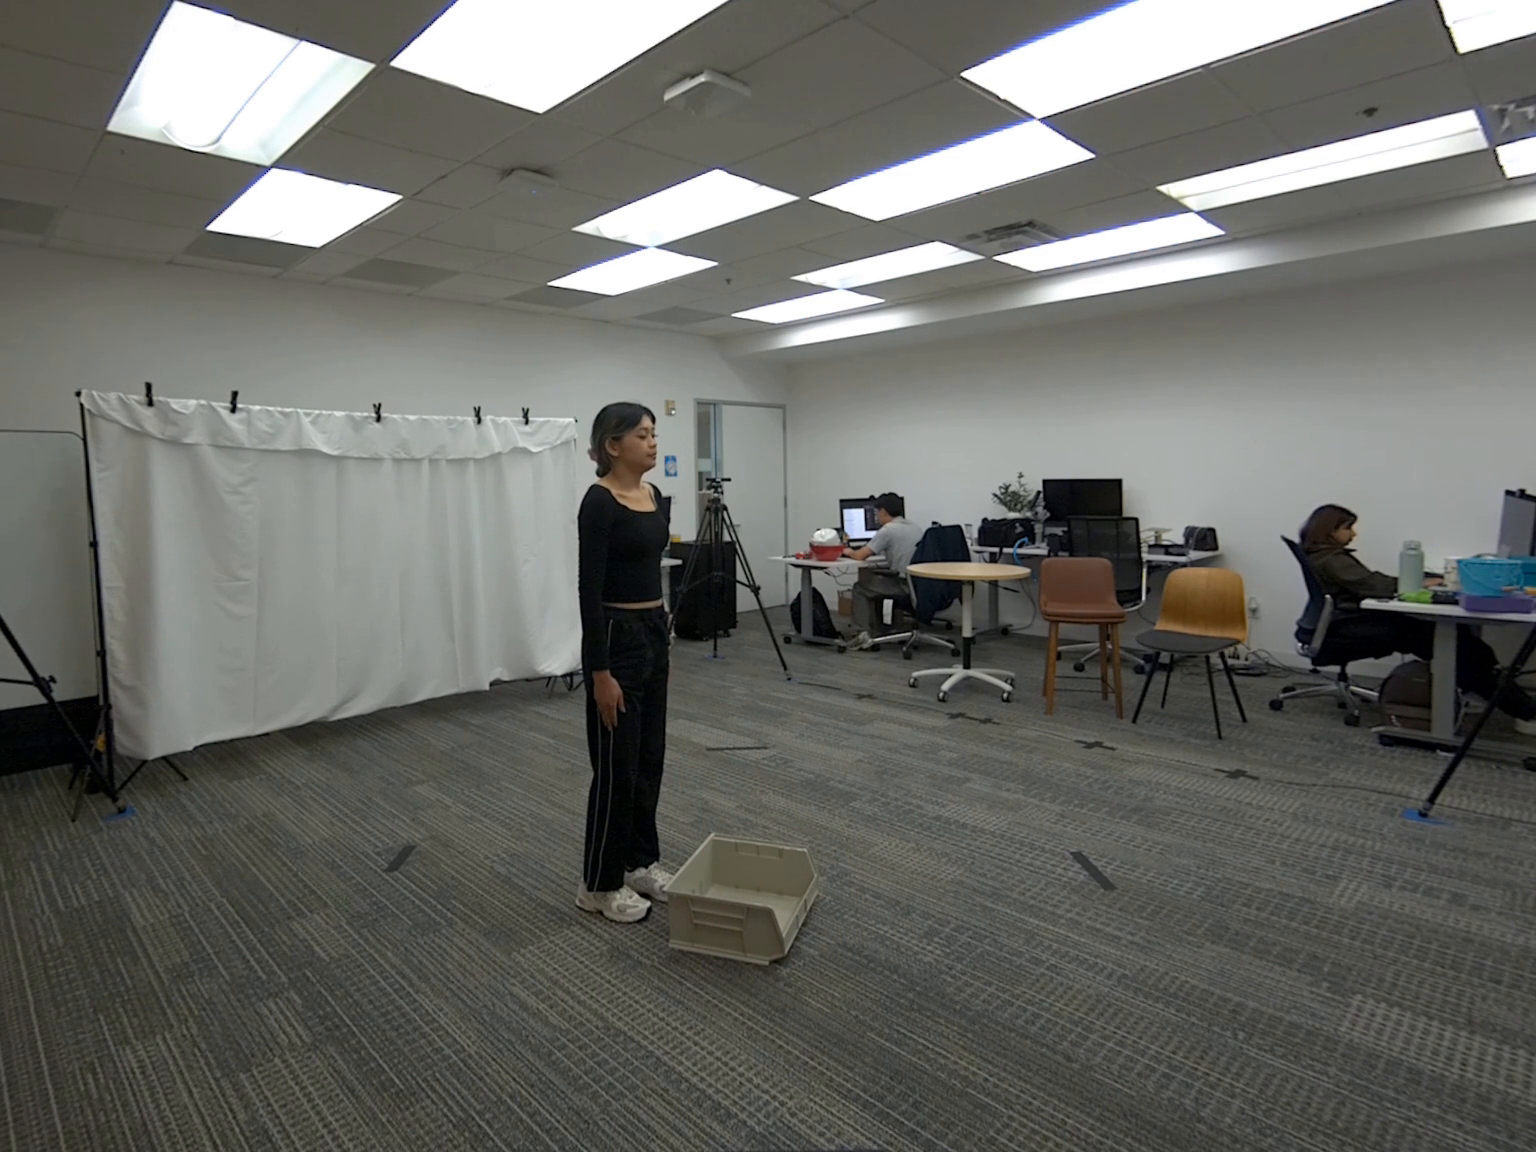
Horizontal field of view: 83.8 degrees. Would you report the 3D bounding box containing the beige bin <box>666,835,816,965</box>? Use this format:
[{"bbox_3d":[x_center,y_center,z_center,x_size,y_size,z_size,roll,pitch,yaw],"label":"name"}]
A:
[{"bbox_3d":[-0.066,1.005,2.678,0.384,0.188,0.417,0,7,18],"label":"beige bin"}]
